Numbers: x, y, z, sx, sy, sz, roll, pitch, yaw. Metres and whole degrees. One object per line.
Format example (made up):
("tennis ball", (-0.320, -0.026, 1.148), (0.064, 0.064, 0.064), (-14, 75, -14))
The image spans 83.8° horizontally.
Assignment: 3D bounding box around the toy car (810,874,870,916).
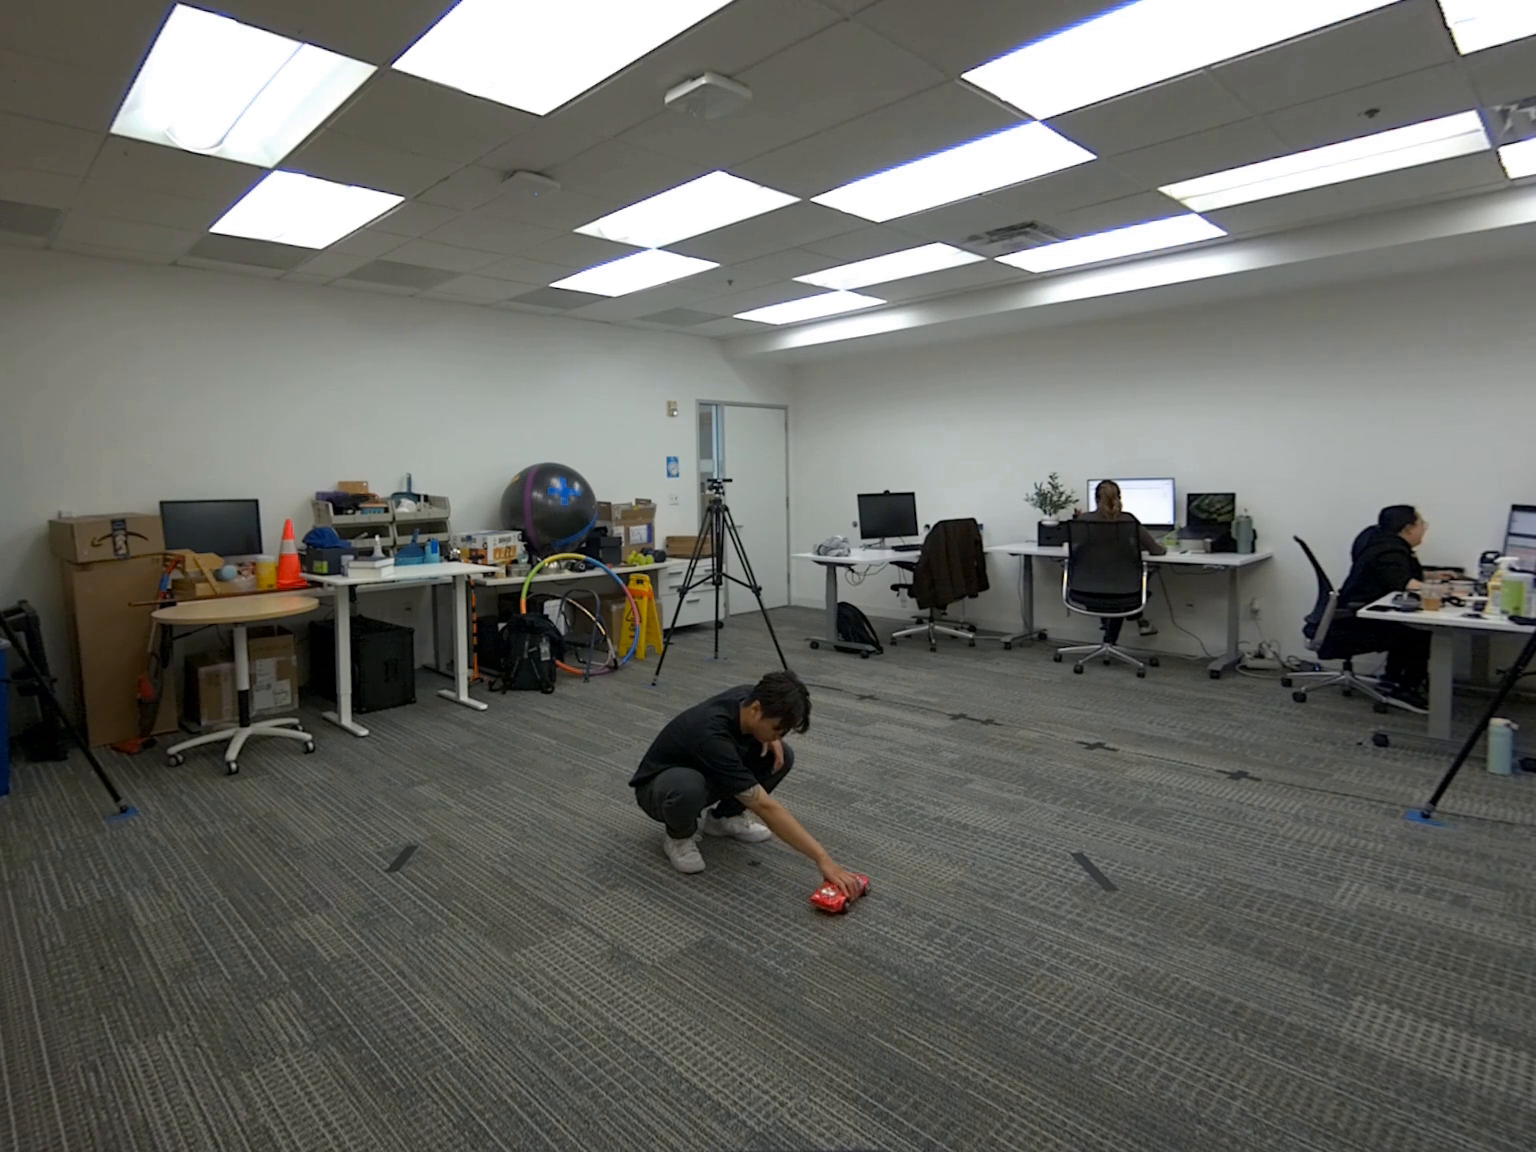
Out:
("toy car", (0.235, 1.042, 2.811), (0.134, 0.083, 0.246), (4, -2, 35))
